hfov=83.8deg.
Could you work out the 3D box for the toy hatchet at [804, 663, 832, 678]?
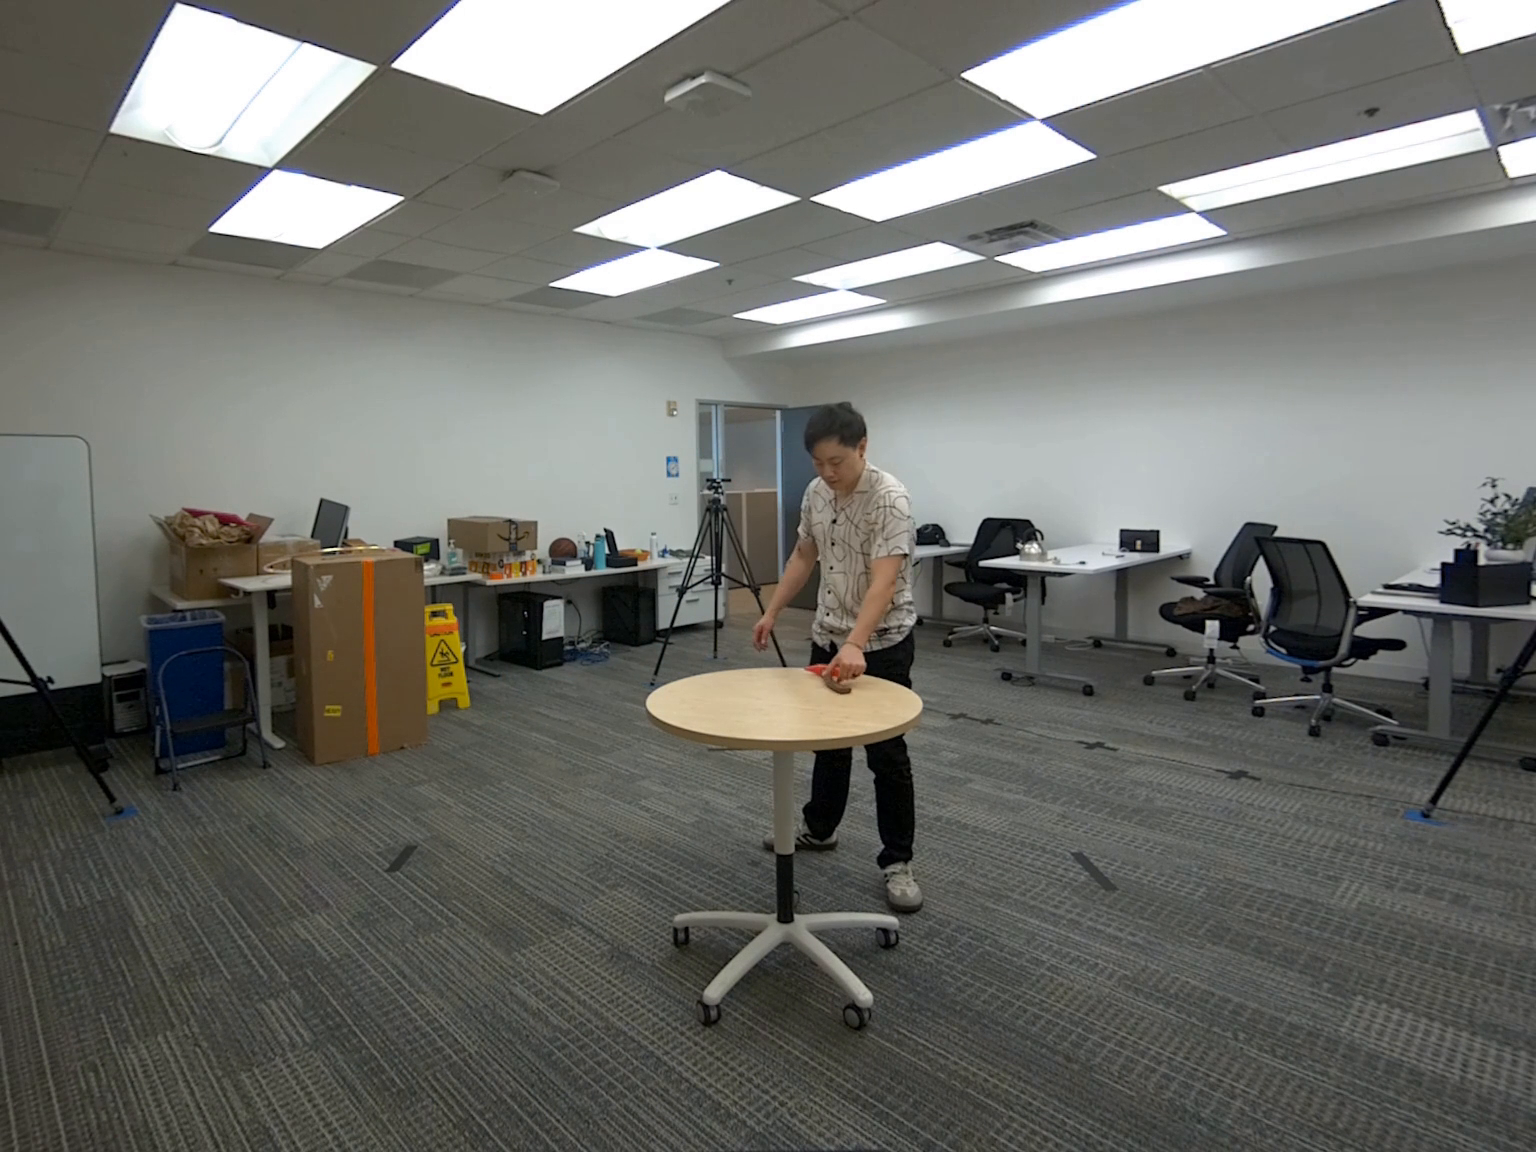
[{"bbox_3d":[0.224,0.311,2.557,0.129,0.029,0.276,-1,7,-19],"label":"toy hatchet"}]
